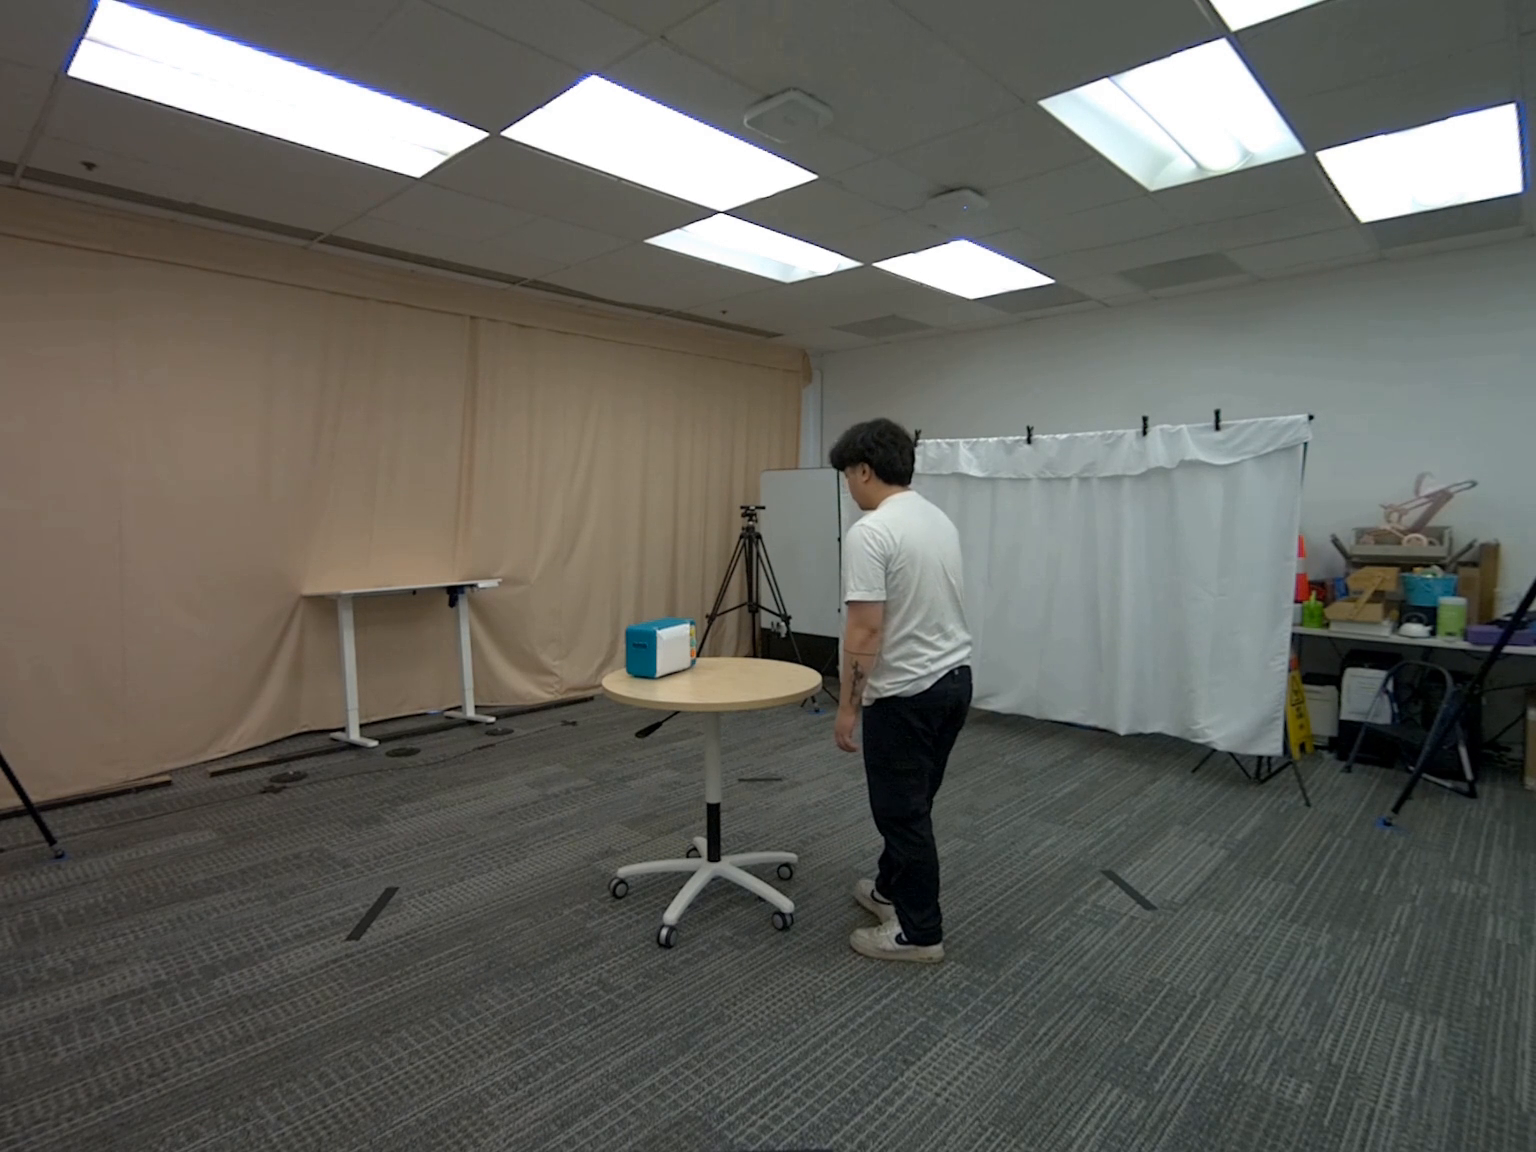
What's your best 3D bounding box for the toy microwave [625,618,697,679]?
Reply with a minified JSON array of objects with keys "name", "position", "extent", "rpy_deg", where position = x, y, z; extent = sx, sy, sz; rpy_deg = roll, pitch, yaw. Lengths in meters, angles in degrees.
[{"name":"toy microwave","position":[-0.375,0.259,3.045],"extent":[0.157,0.184,0.279],"rpy_deg":[2,5,29]}]
